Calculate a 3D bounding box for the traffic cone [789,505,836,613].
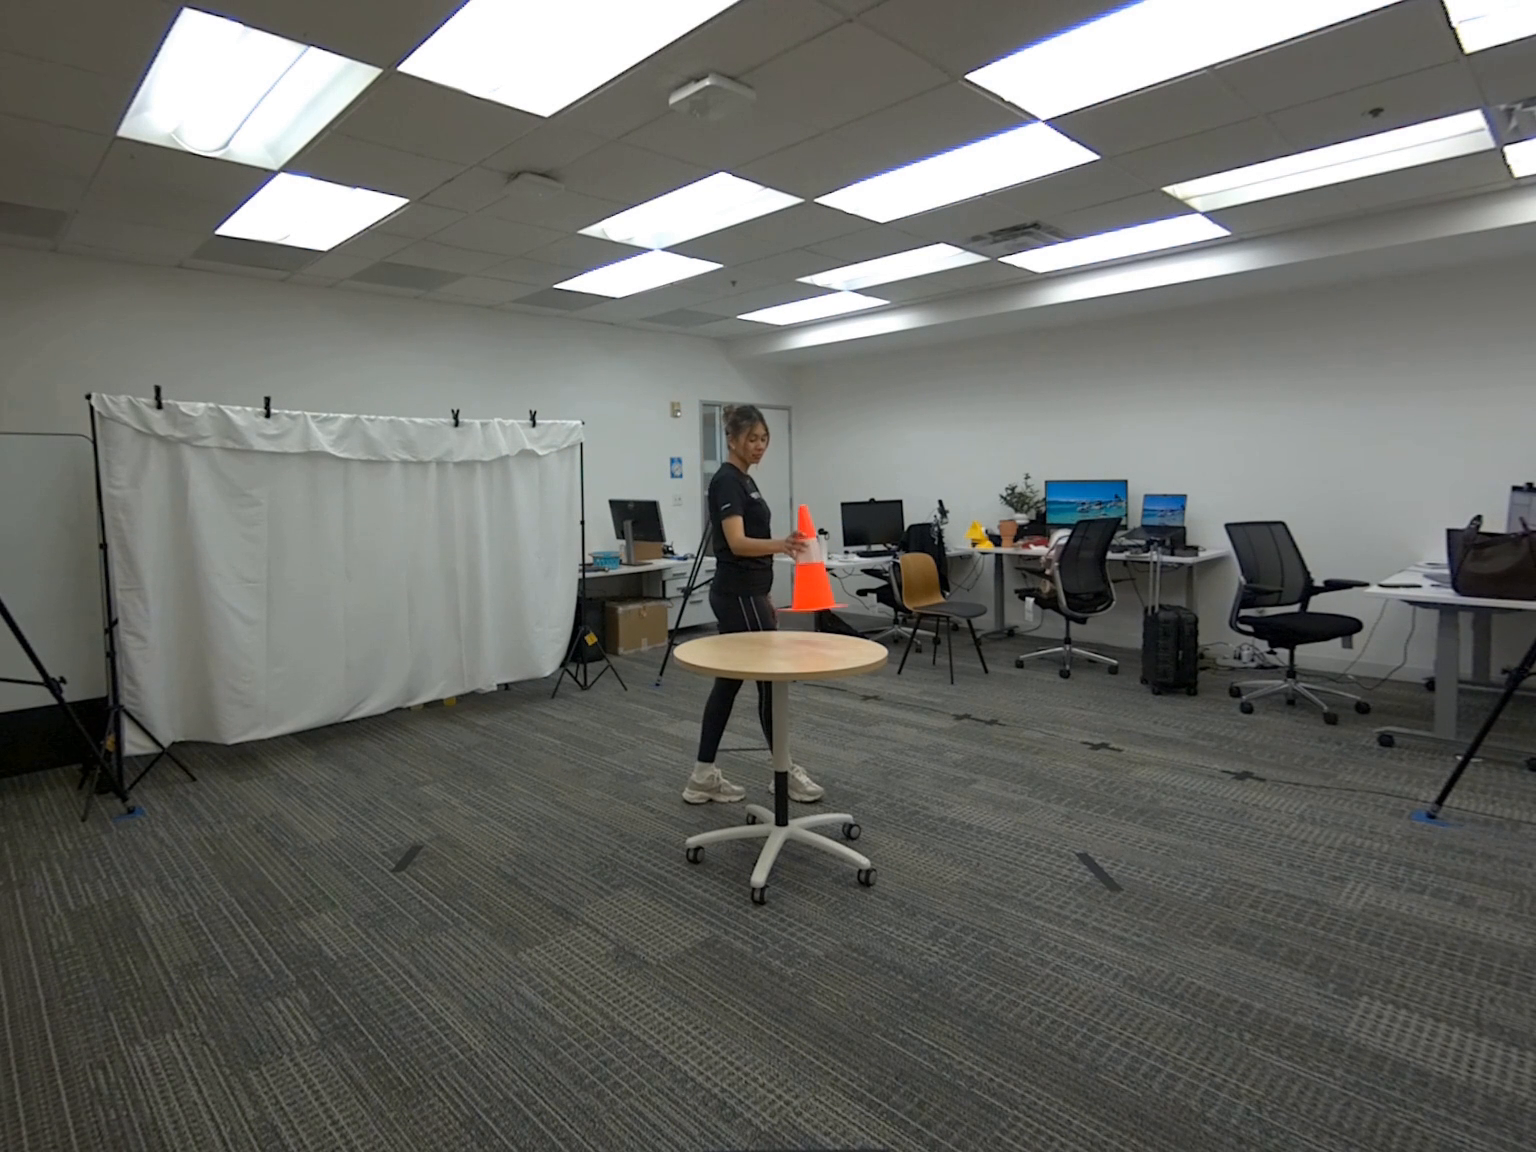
[{"bbox_3d":[0.153,-0.075,3.165,0.210,0.385,0.198,-7,-3,32],"label":"traffic cone"}]
